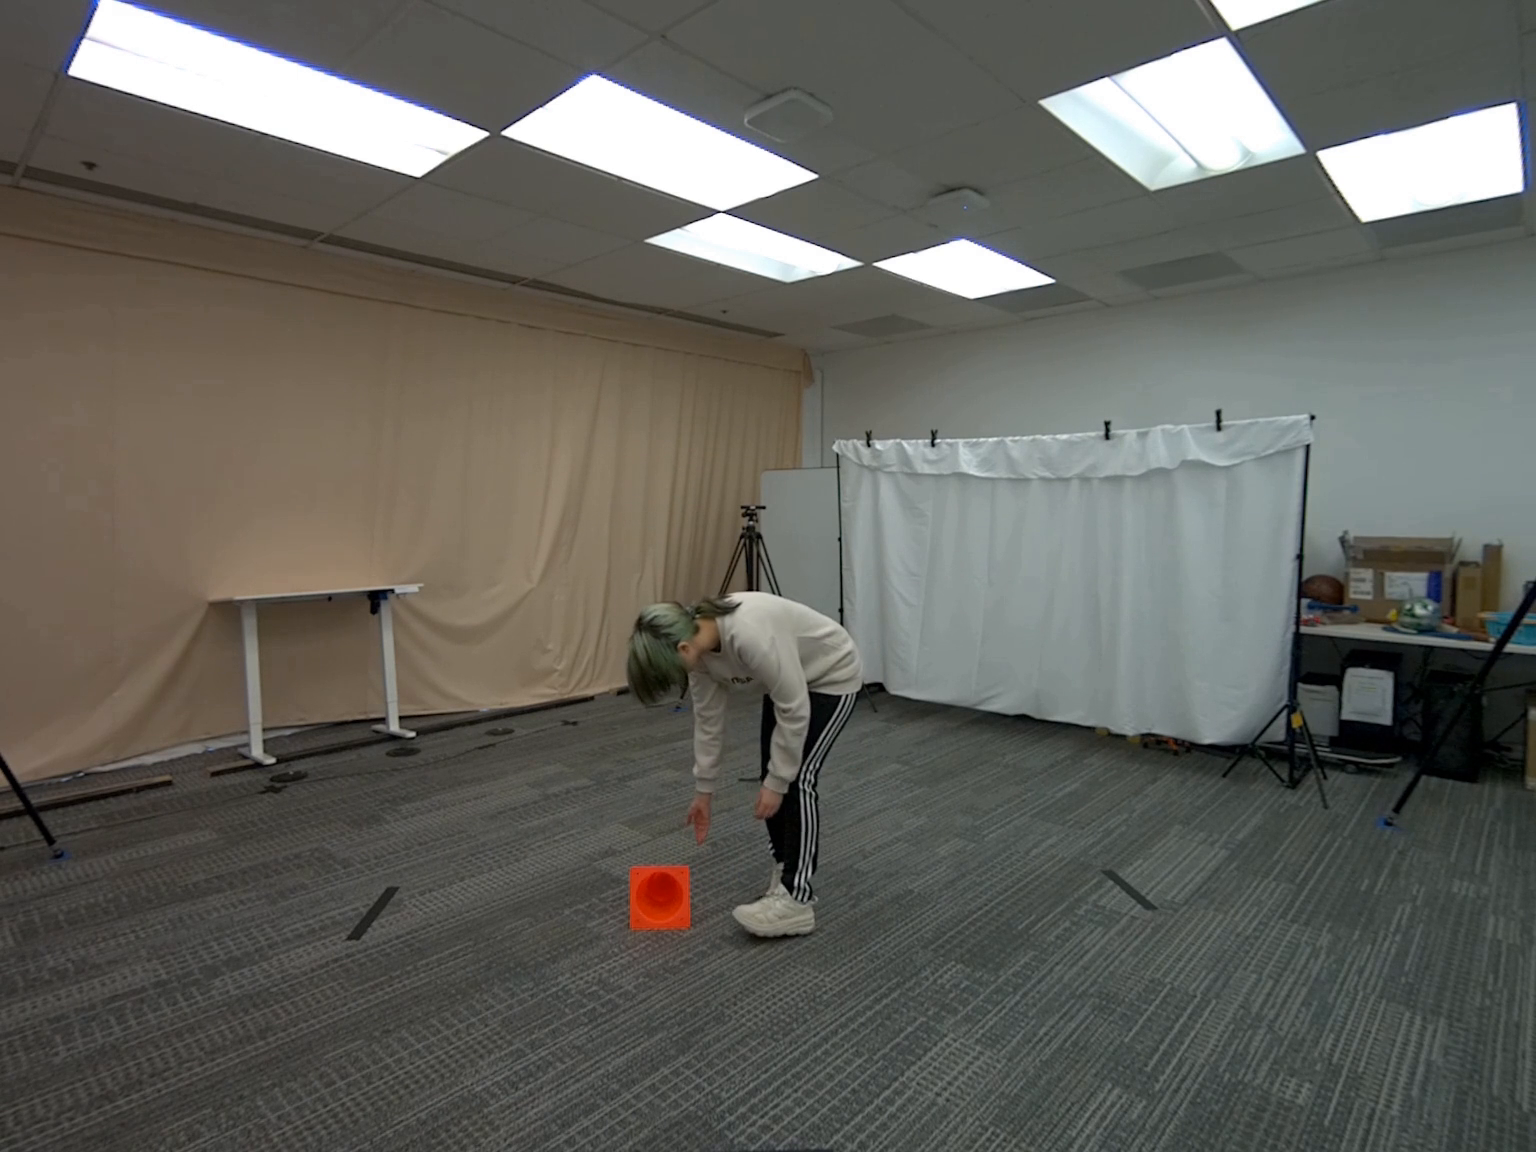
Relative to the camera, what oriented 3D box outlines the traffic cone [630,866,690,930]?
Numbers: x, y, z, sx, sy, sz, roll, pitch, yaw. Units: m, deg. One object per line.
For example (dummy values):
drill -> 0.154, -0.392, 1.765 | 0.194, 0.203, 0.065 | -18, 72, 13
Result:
traffic cone -> -0.380, 1.099, 2.976 | 0.204, 0.204, 0.382 | 1, -8, -3
